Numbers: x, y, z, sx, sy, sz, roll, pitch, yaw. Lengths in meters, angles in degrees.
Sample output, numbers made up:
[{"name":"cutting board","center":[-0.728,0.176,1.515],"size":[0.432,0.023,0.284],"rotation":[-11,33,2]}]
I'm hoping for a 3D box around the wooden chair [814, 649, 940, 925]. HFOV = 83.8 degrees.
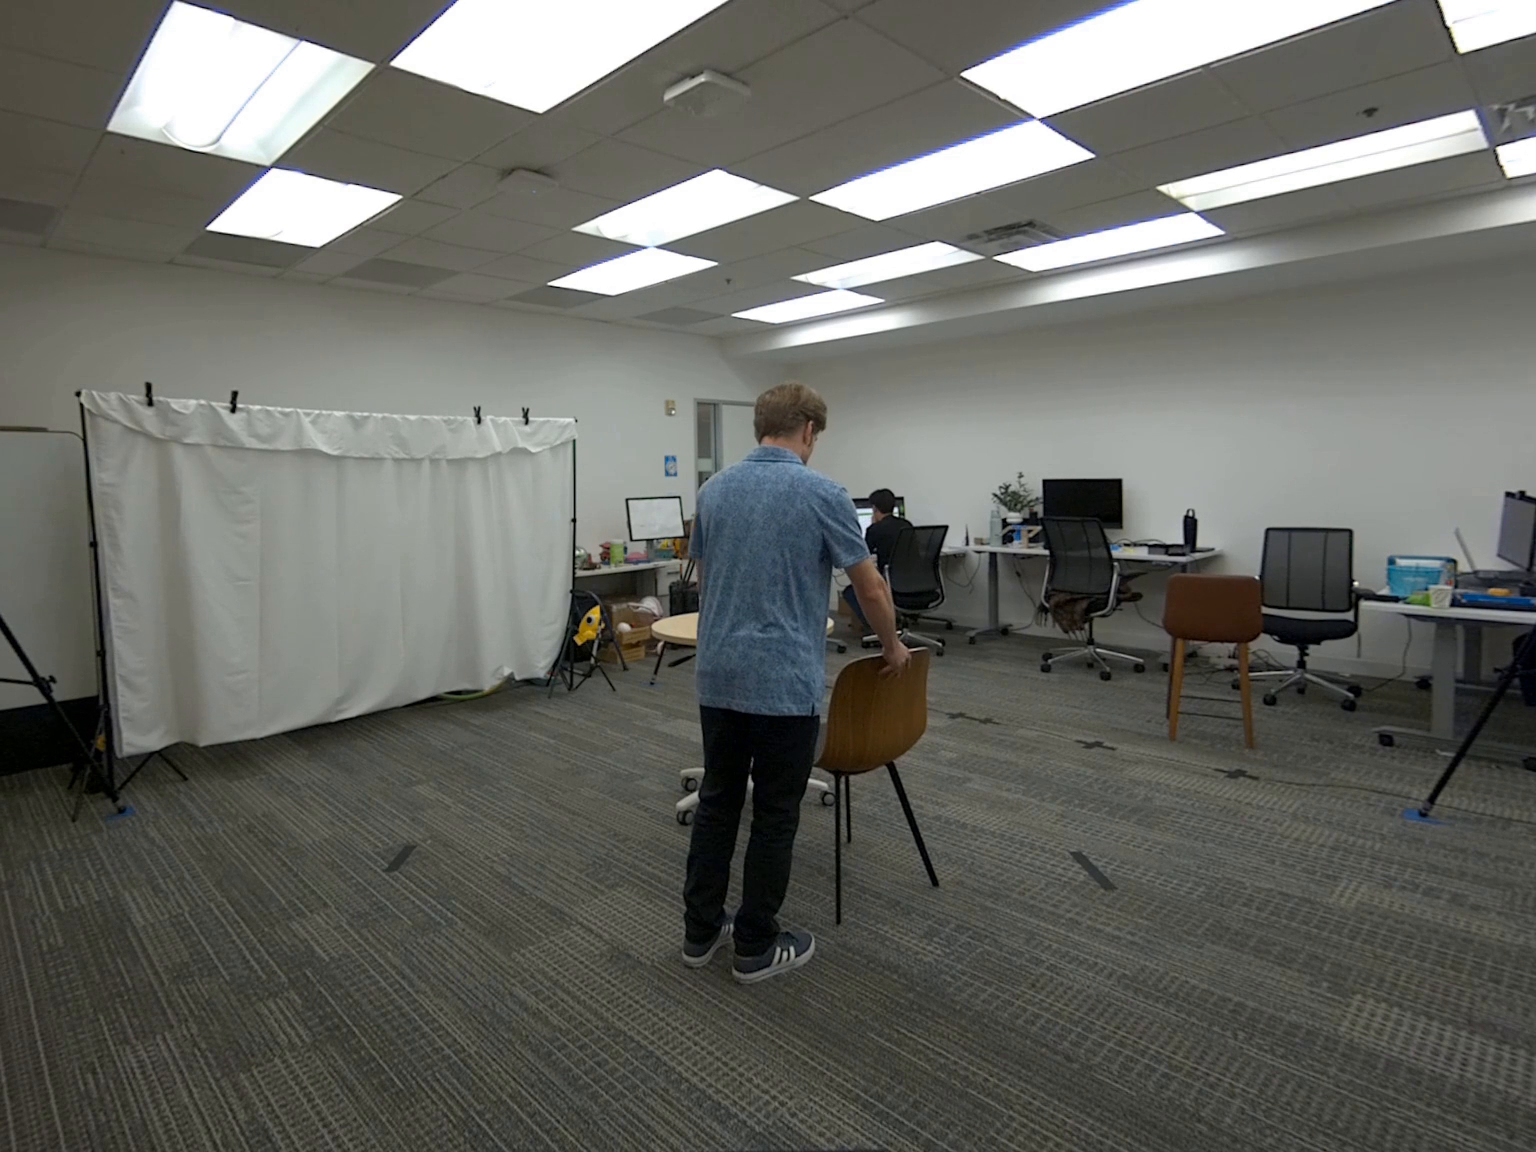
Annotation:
[{"name":"wooden chair","center":[0.256,0.628,2.943],"size":[0.466,0.871,0.540],"rotation":[-4,10,-35]}]
